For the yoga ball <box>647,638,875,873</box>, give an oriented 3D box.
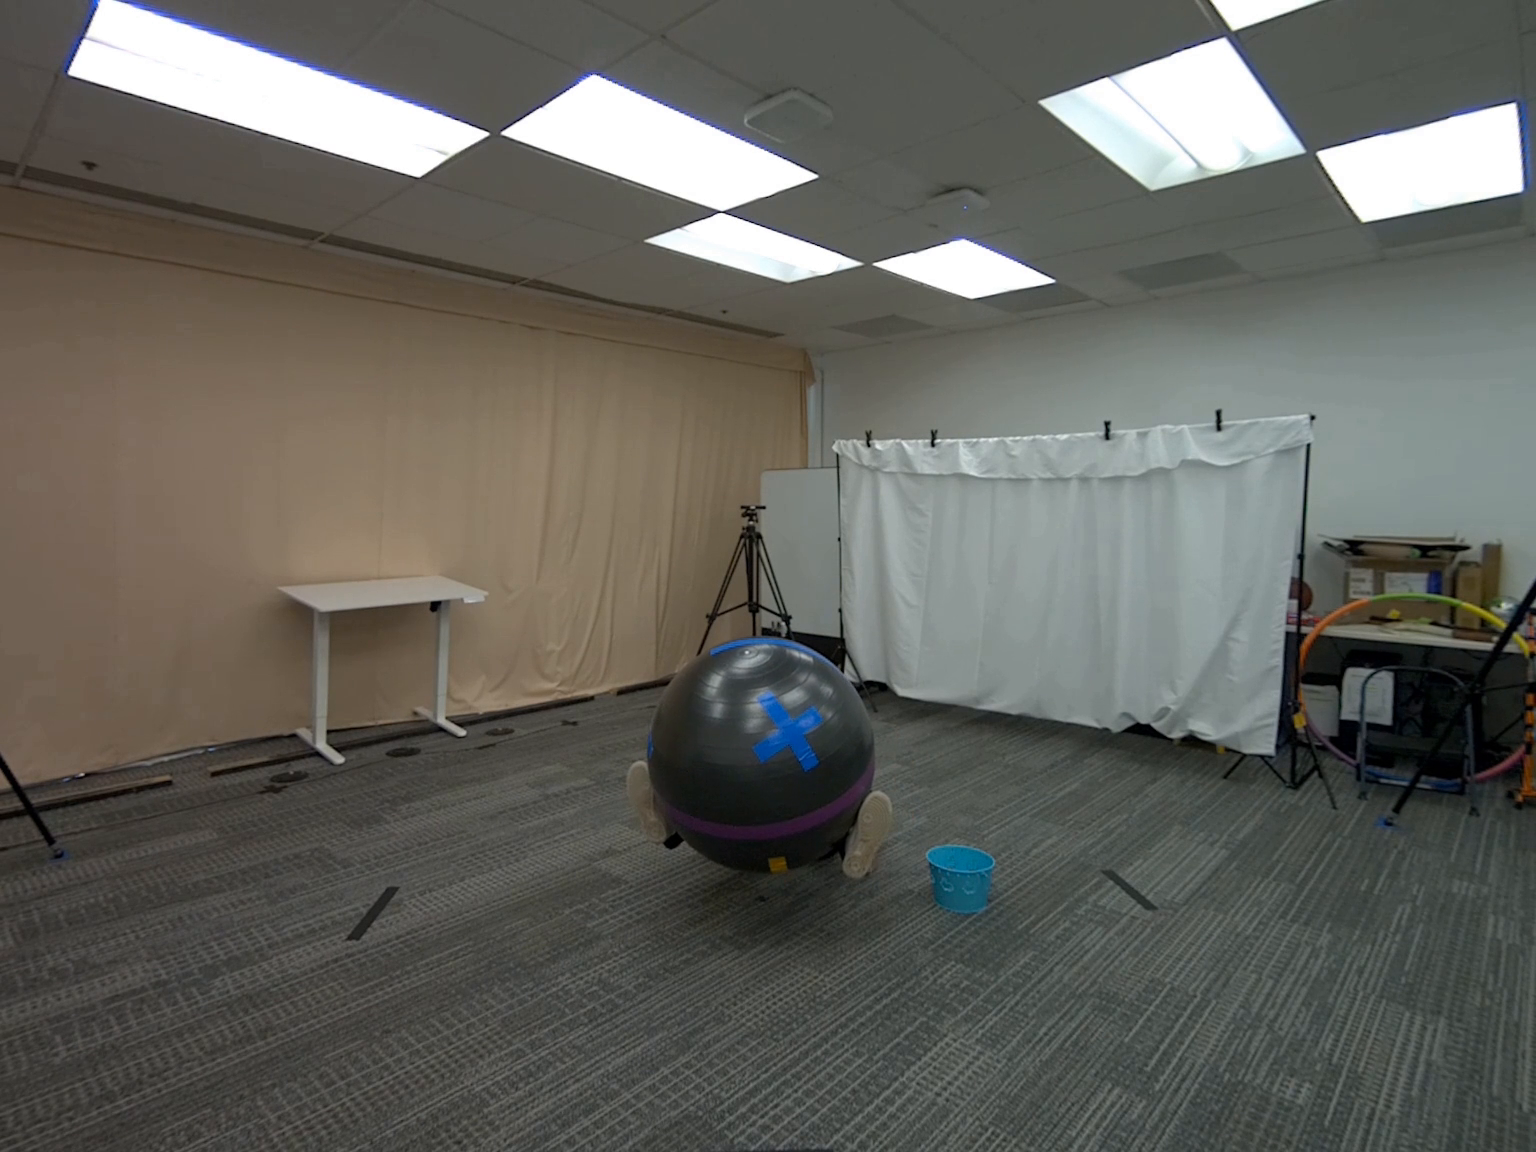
[{"bbox_3d":[-0.023,0.590,2.815,0.757,0.756,0.760,0,4,-2],"label":"yoga ball"}]
